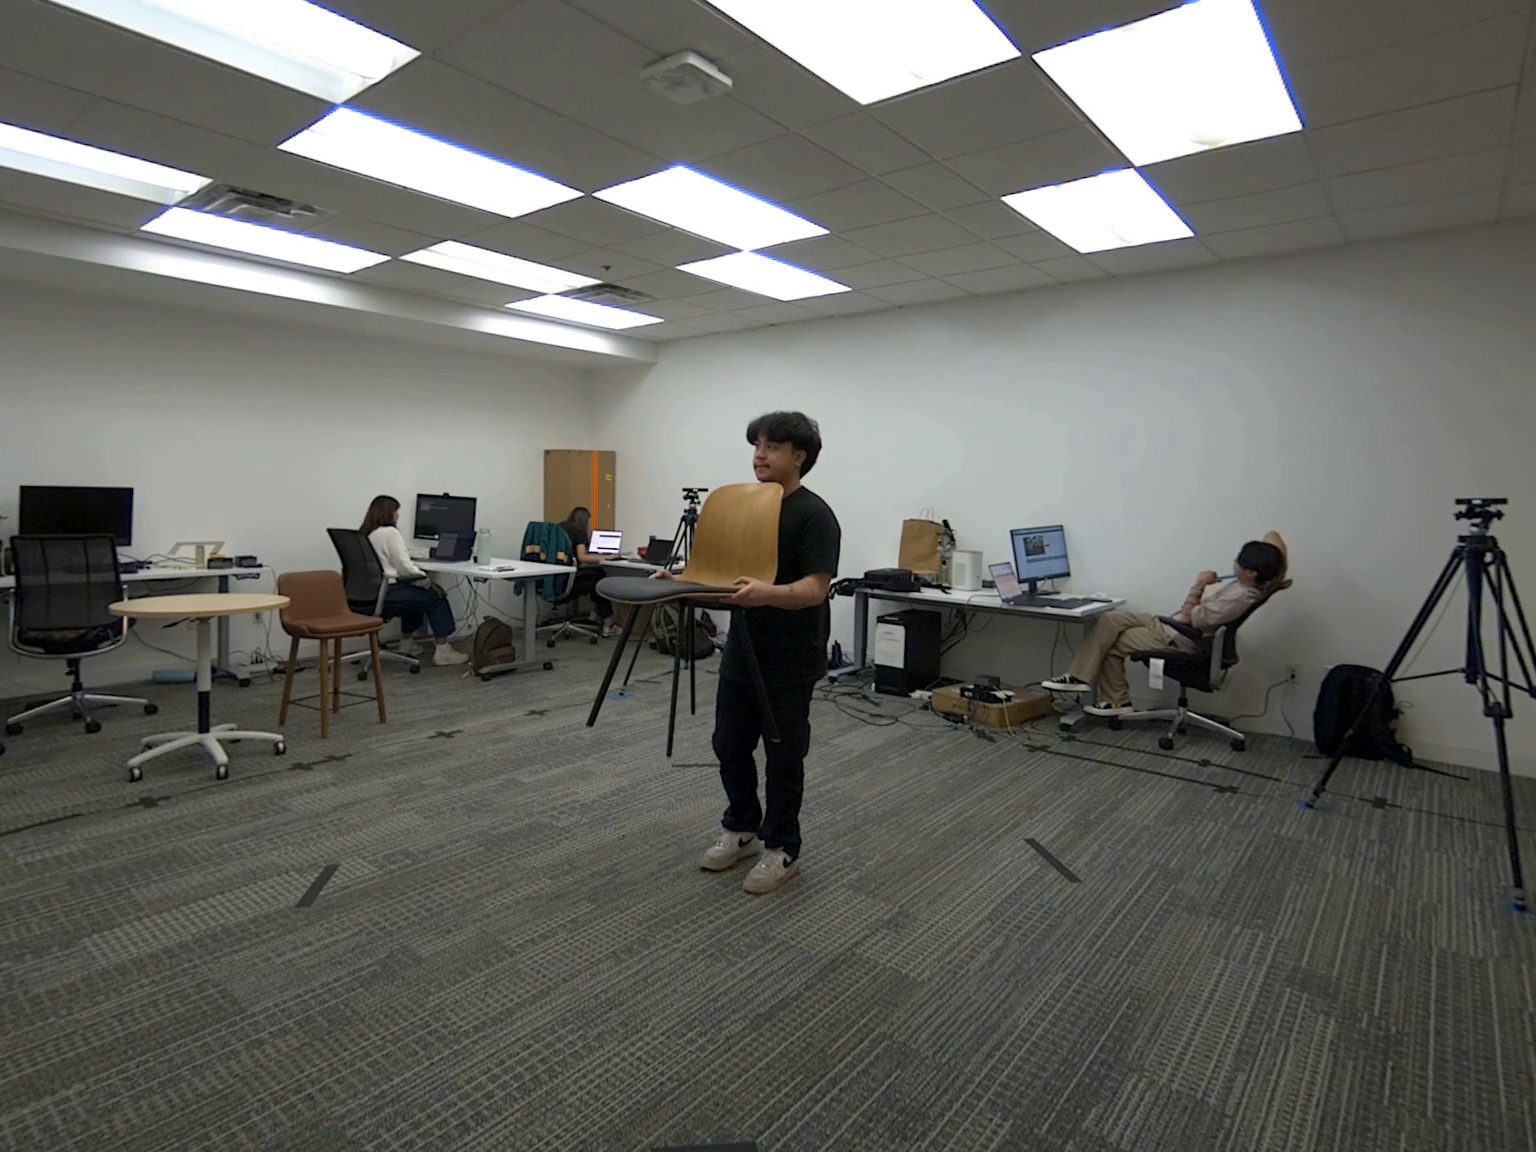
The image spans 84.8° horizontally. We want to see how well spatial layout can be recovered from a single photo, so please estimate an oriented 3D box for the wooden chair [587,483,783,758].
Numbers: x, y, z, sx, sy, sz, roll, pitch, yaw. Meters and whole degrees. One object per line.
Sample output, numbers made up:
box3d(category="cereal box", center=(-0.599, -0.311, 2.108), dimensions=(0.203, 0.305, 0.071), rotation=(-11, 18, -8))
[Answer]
box3d(category="wooden chair", center=(-0.274, 0.089, 2.783), dimensions=(0.505, 0.878, 0.494), rotation=(8, -2, -43))
